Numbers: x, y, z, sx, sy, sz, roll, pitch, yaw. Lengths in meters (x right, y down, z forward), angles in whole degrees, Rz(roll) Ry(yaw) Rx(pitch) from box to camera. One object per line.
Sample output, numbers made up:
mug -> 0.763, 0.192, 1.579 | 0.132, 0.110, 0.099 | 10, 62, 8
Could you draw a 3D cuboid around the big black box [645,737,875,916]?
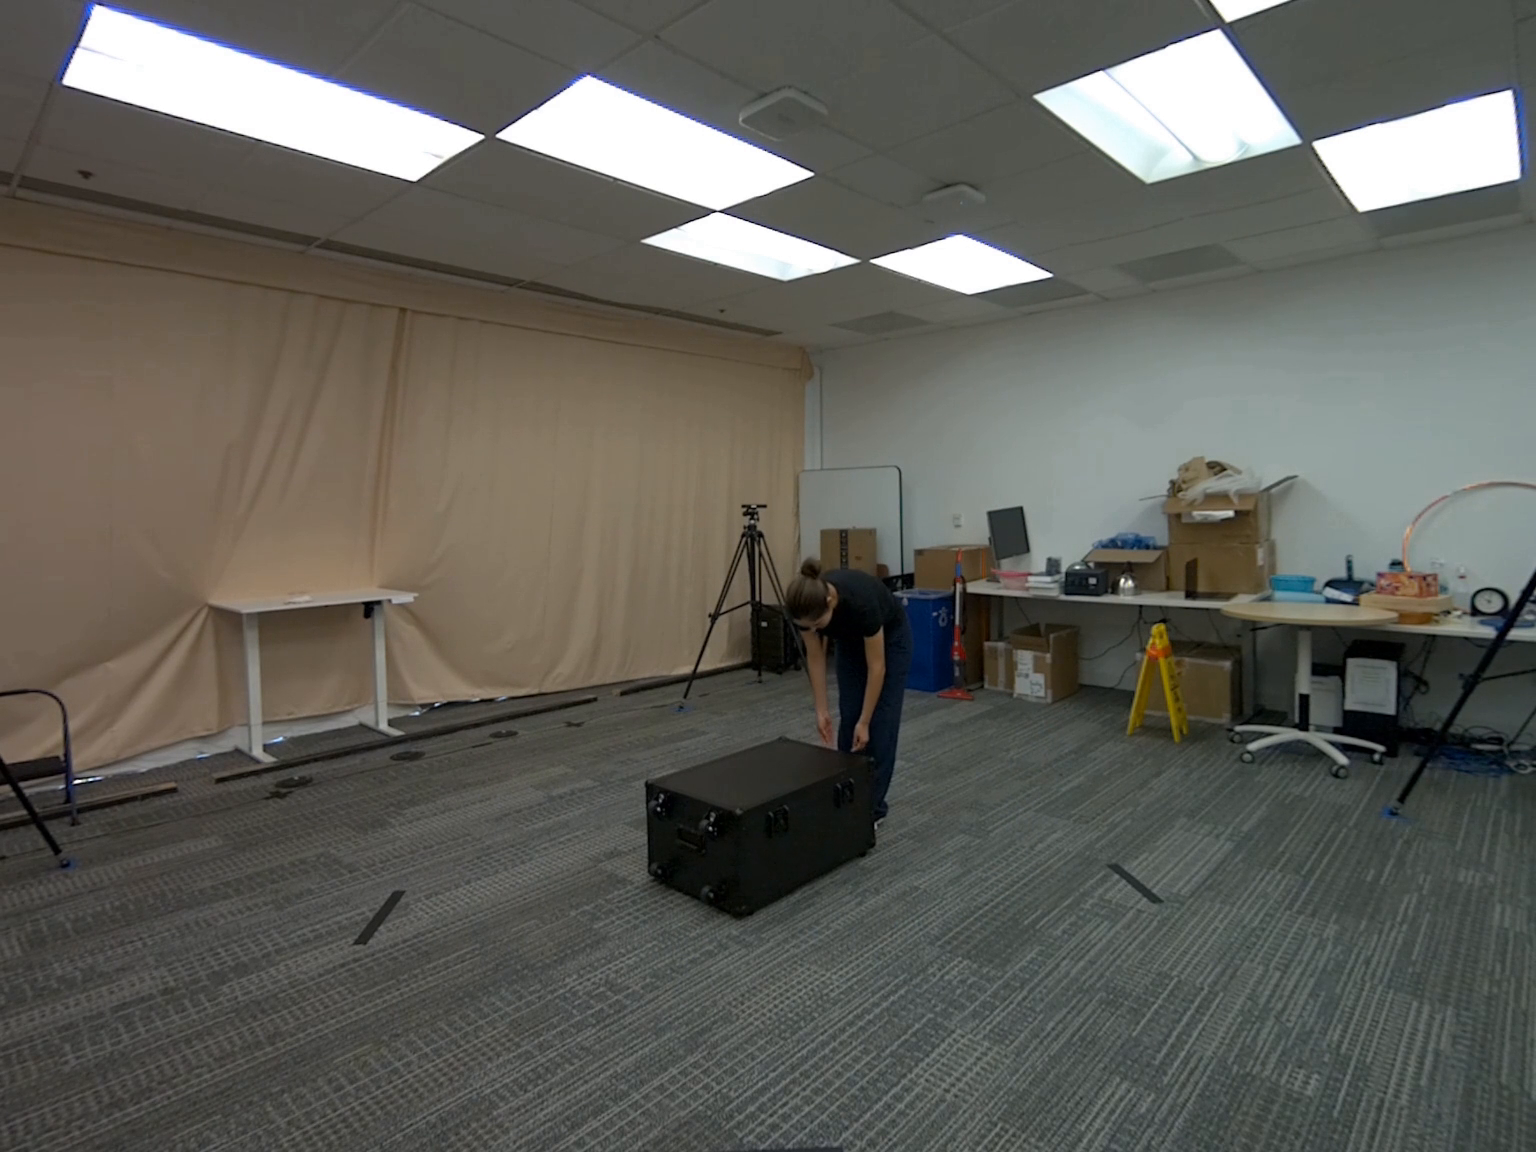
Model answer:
big black box -> -0.025, 0.931, 3.215 | 0.538, 0.395, 0.835 | 2, 5, 43
